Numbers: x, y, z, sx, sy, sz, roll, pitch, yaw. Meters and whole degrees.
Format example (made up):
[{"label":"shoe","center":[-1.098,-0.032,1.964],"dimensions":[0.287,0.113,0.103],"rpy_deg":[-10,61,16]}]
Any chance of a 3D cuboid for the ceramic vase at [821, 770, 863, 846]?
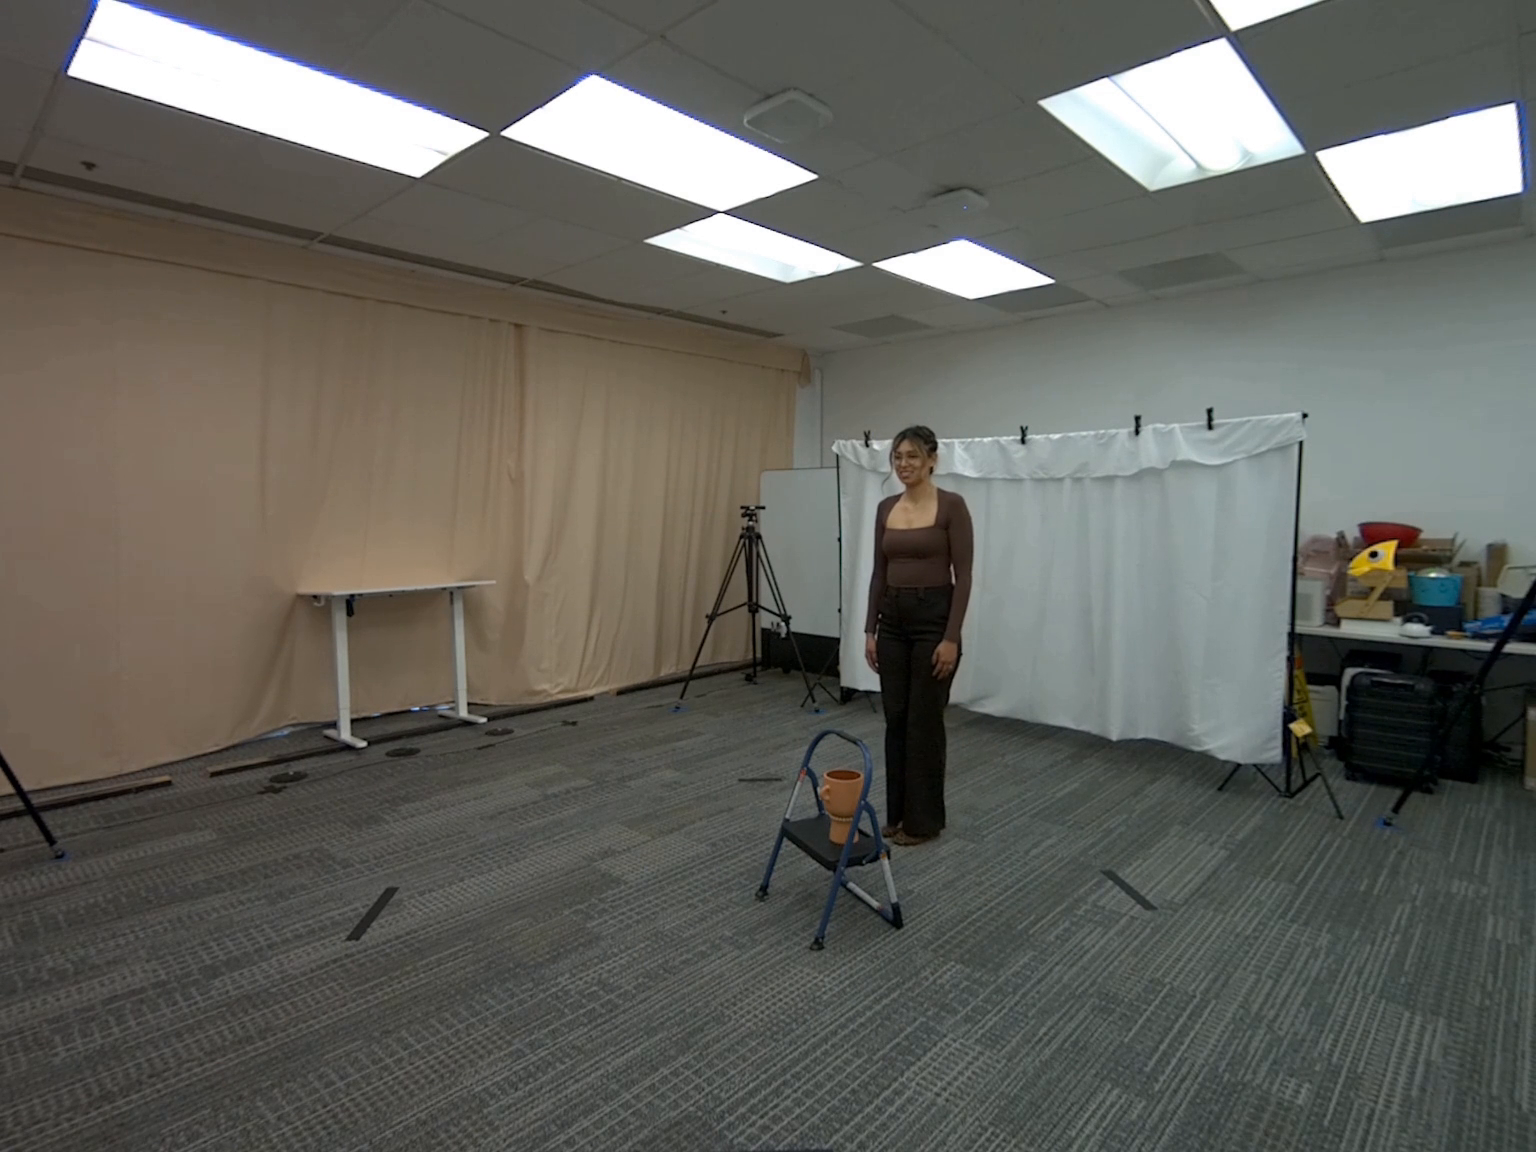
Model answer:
[{"label":"ceramic vase","center":[0.260,0.779,2.844],"dimensions":[0.160,0.219,0.134],"rpy_deg":[-1,4,6]}]
